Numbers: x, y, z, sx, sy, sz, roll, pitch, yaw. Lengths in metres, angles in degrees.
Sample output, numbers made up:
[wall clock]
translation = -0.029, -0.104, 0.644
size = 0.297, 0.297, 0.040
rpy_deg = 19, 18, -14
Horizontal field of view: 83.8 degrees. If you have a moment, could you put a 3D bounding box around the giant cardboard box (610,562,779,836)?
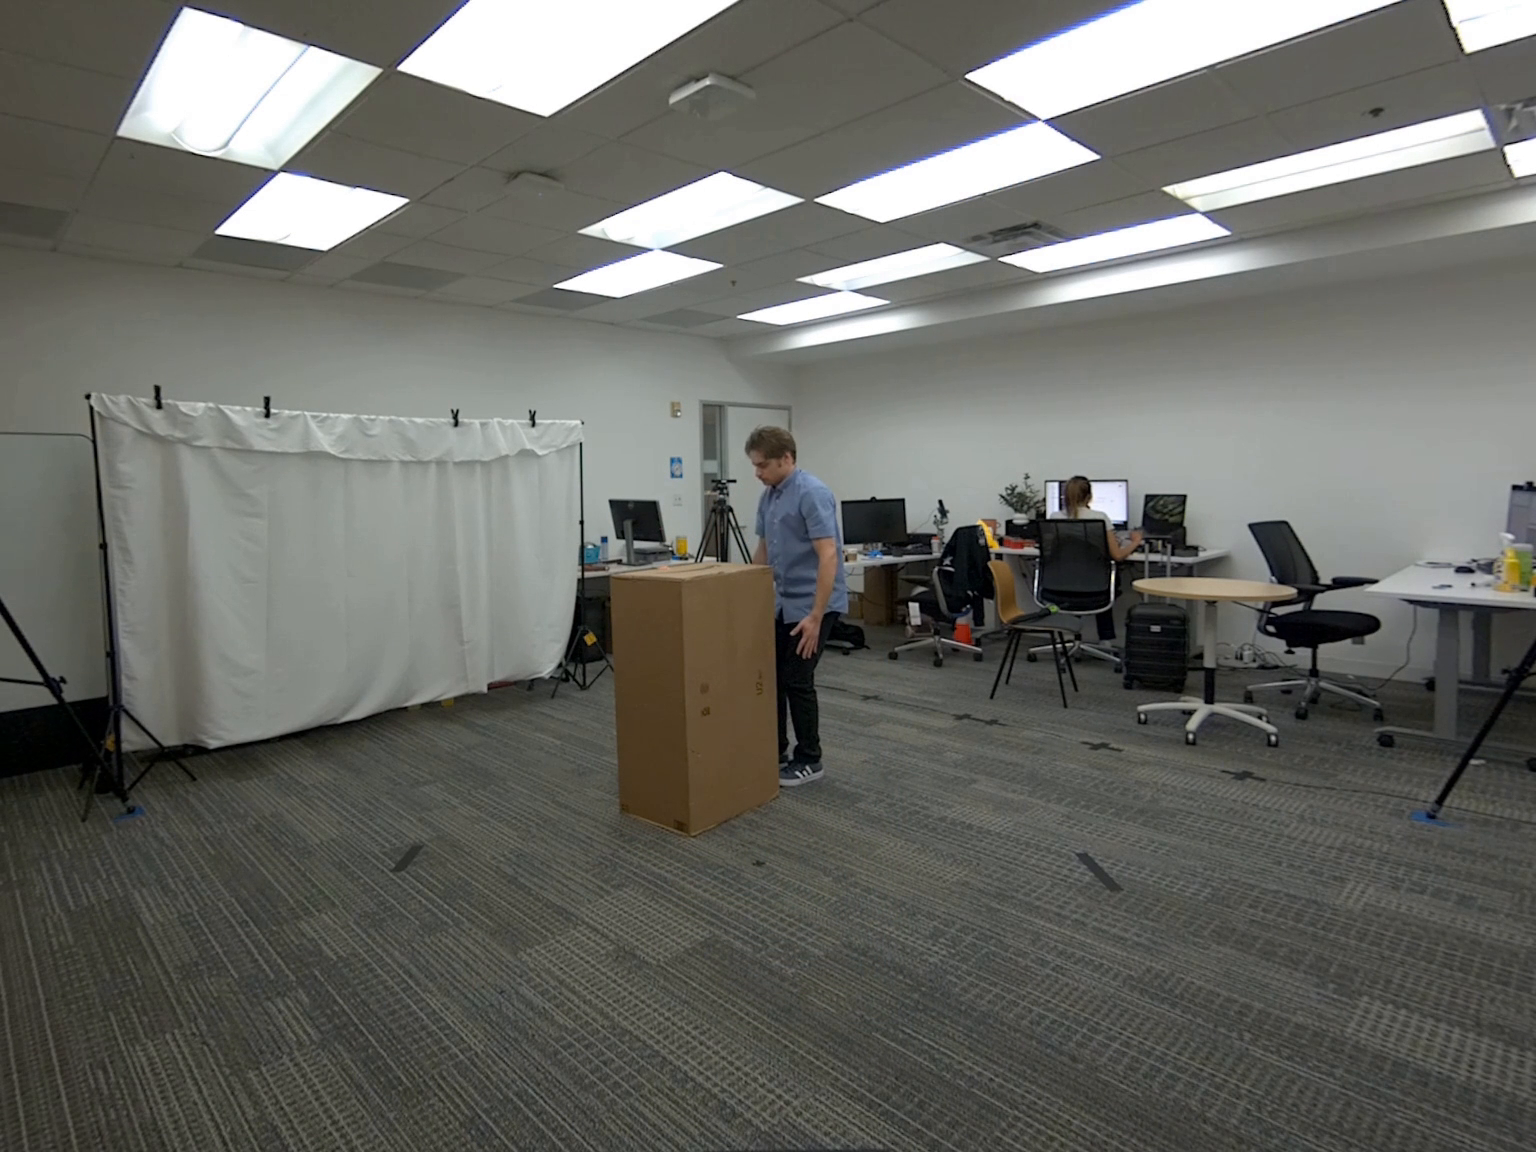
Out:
[giant cardboard box]
translation = -0.309, 0.482, 3.663
size = 0.439, 1.022, 0.562
rpy_deg = 2, 5, 41
